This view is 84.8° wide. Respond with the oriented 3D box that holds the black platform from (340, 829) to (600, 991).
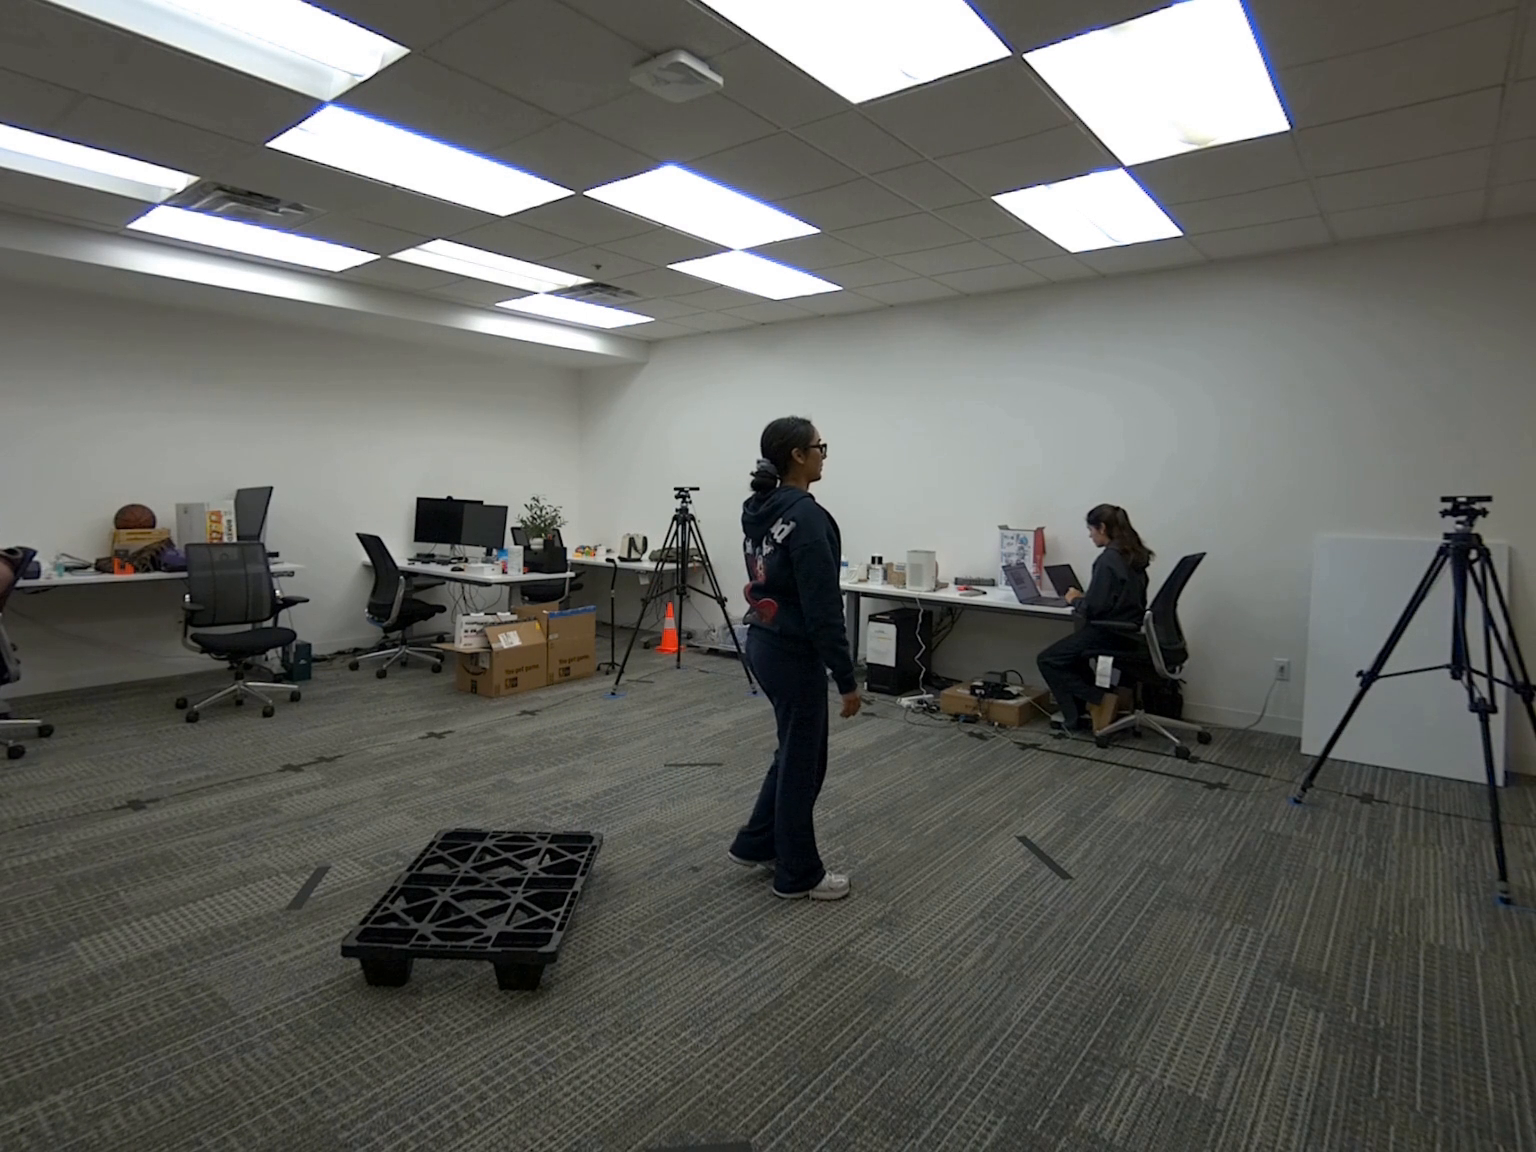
[{"bbox_3d":[-0.895,1.030,2.702,0.606,0.143,0.809,0,6,-1],"label":"black platform"}]
